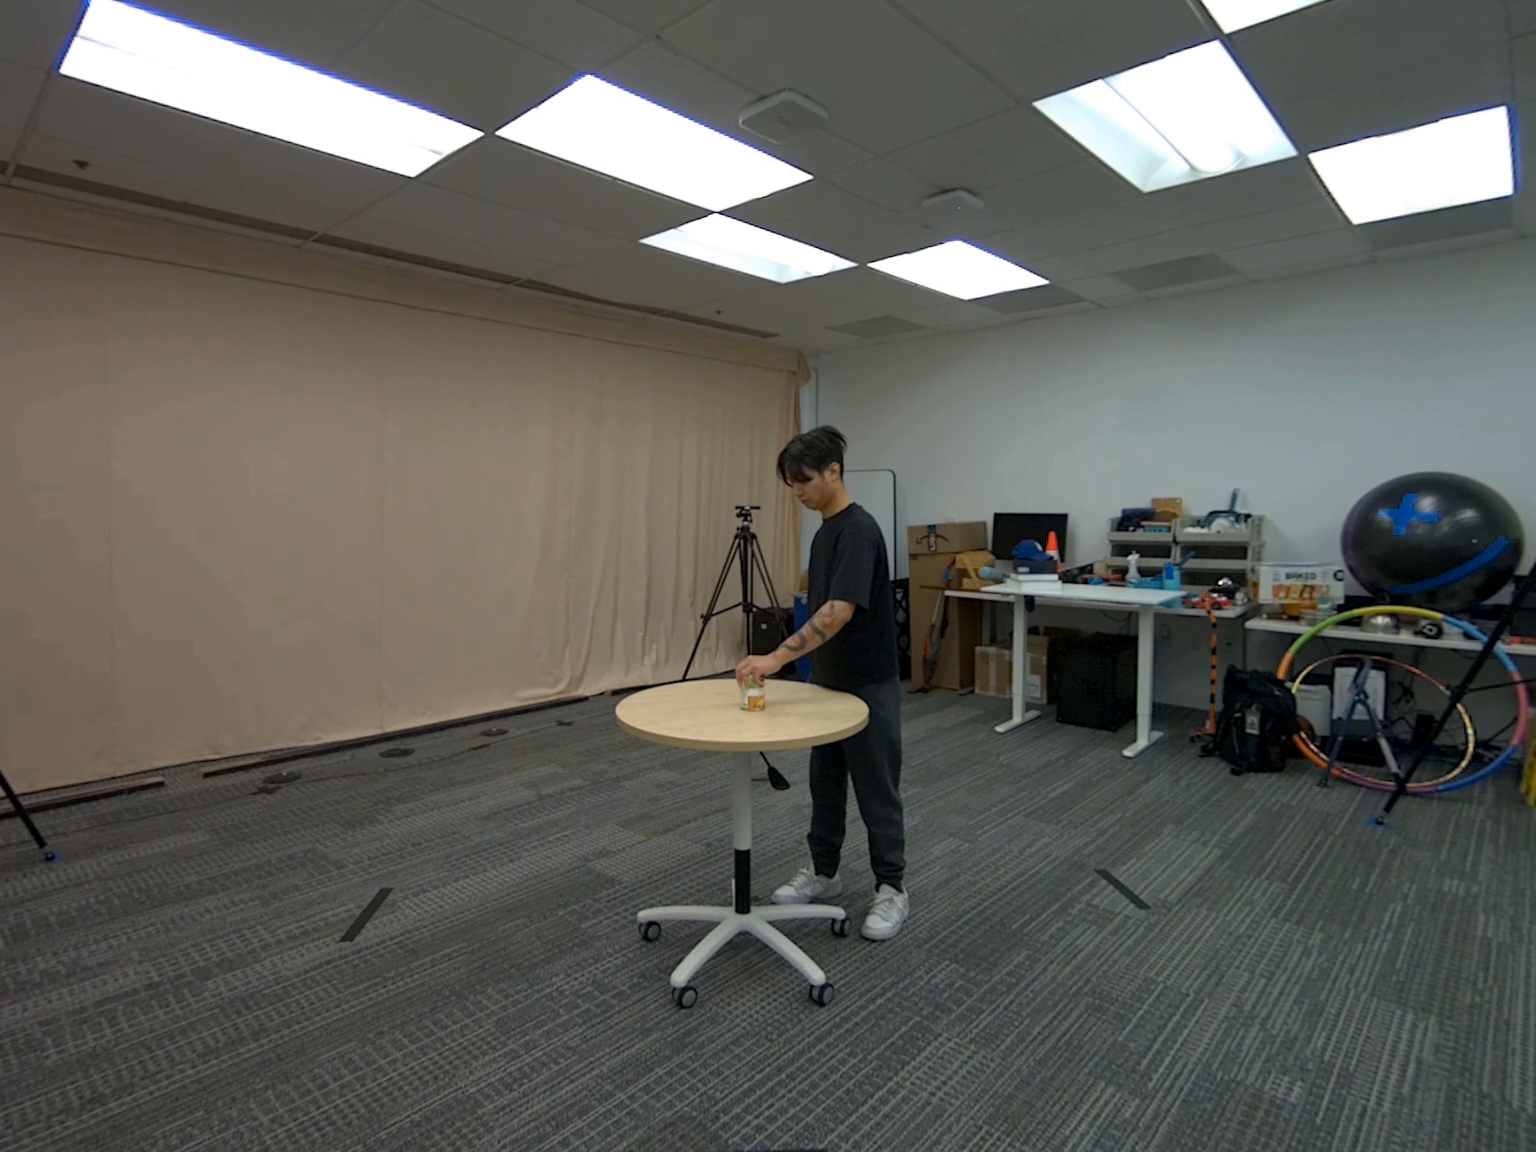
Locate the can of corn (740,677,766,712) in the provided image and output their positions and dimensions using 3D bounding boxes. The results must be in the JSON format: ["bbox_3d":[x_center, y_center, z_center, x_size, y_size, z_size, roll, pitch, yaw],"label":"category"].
[{"bbox_3d":[-0.040,0.342,2.526,0.074,0.111,0.074,1,2,-2],"label":"can of corn"}]
